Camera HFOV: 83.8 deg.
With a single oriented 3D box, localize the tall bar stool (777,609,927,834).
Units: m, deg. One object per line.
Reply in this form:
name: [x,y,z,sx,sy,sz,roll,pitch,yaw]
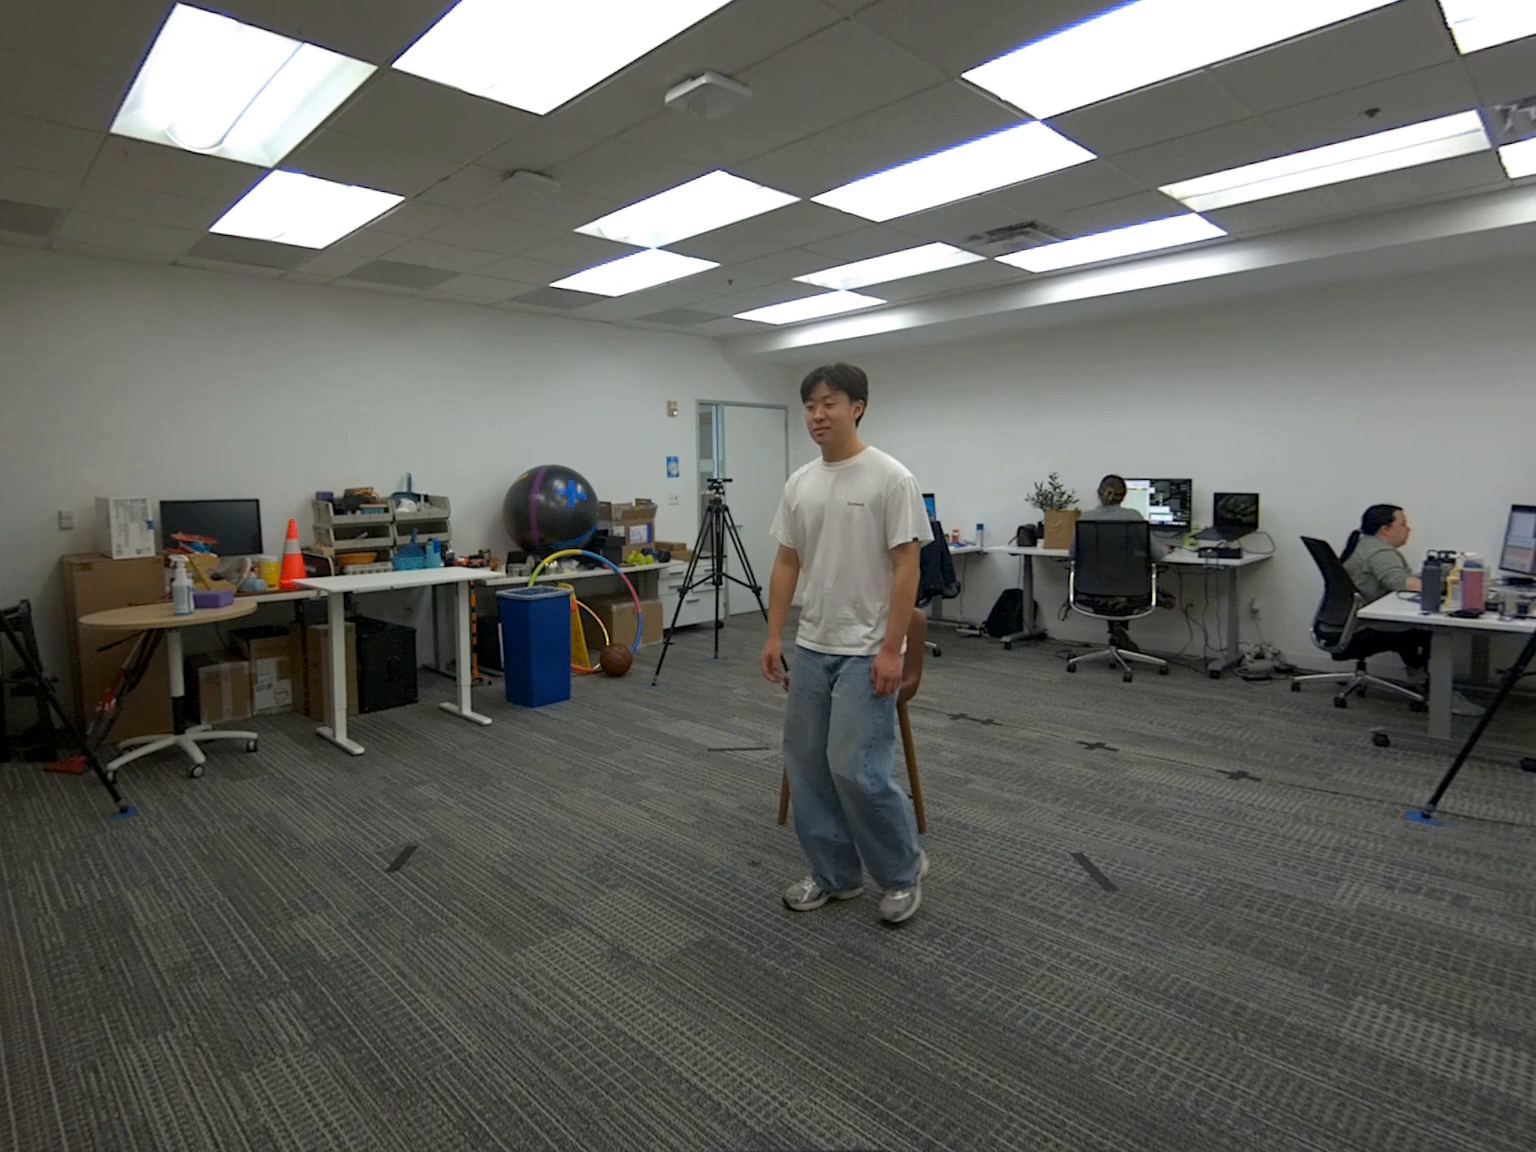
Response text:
tall bar stool: [0.340,0.568,3.388,0.456,0.887,0.469,-1,4,-32]
